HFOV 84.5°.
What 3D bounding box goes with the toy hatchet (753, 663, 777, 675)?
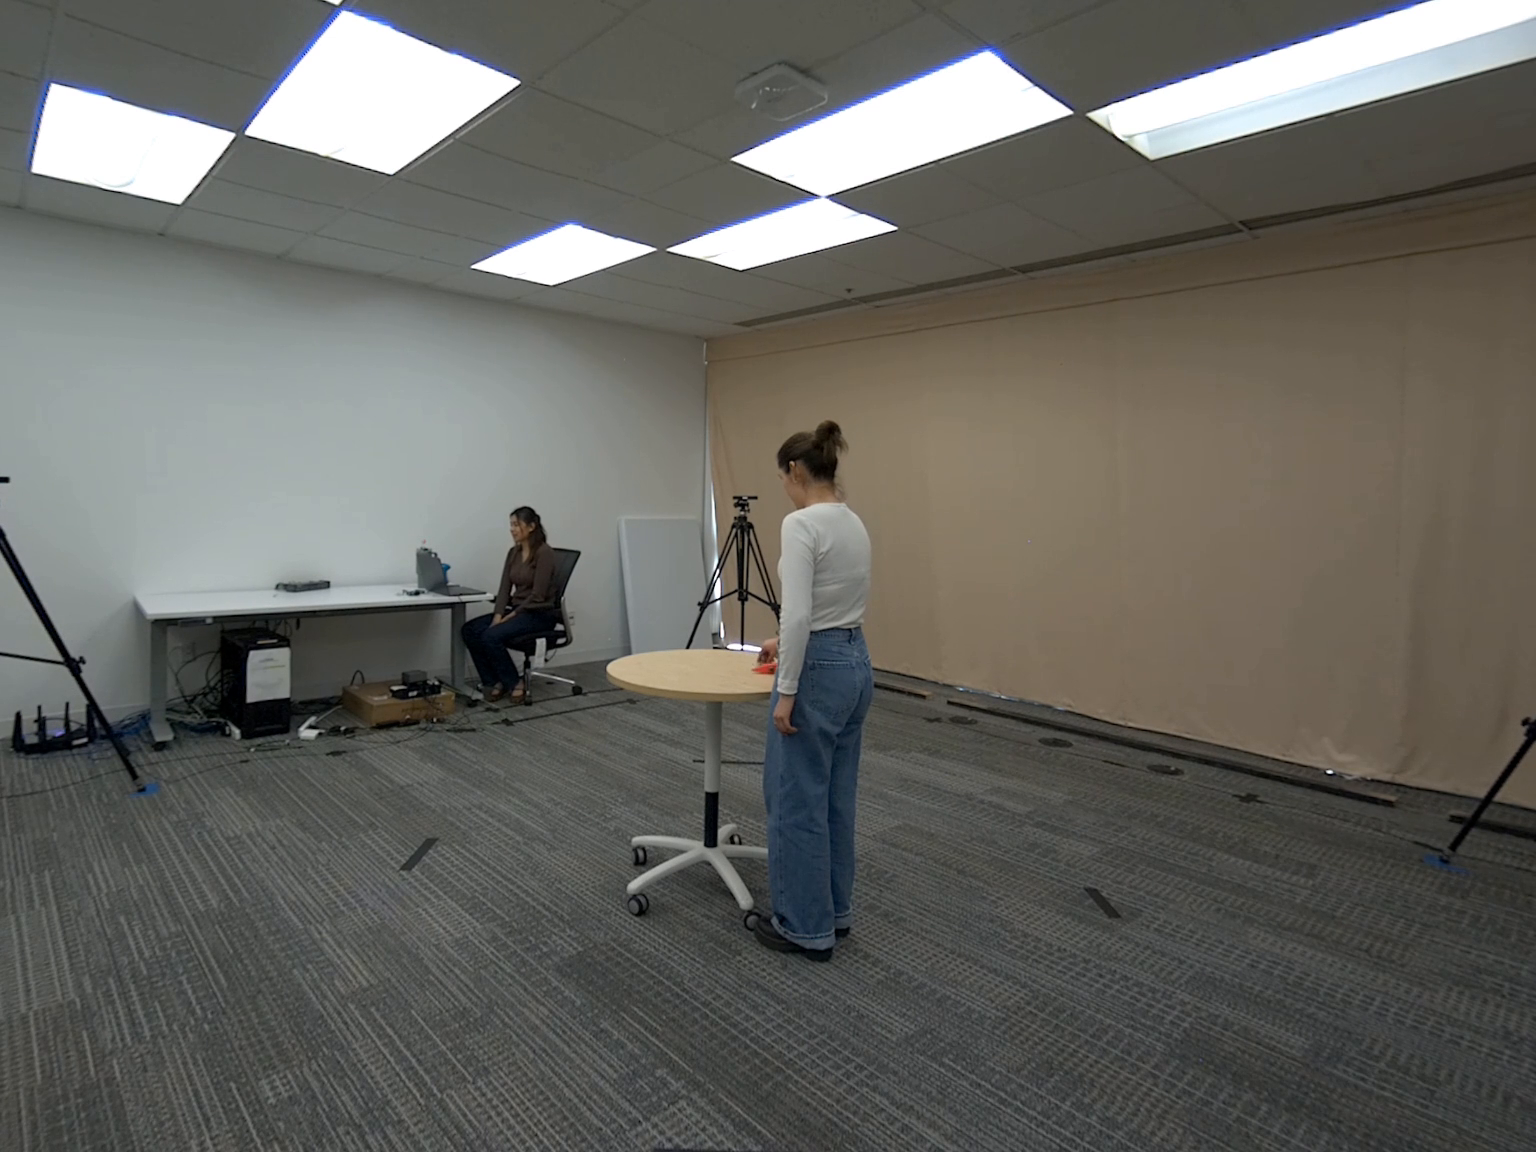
[{"bbox_3d":[0.005,0.316,3.040,0.132,0.029,0.269,-8,6,7],"label":"toy hatchet"}]
